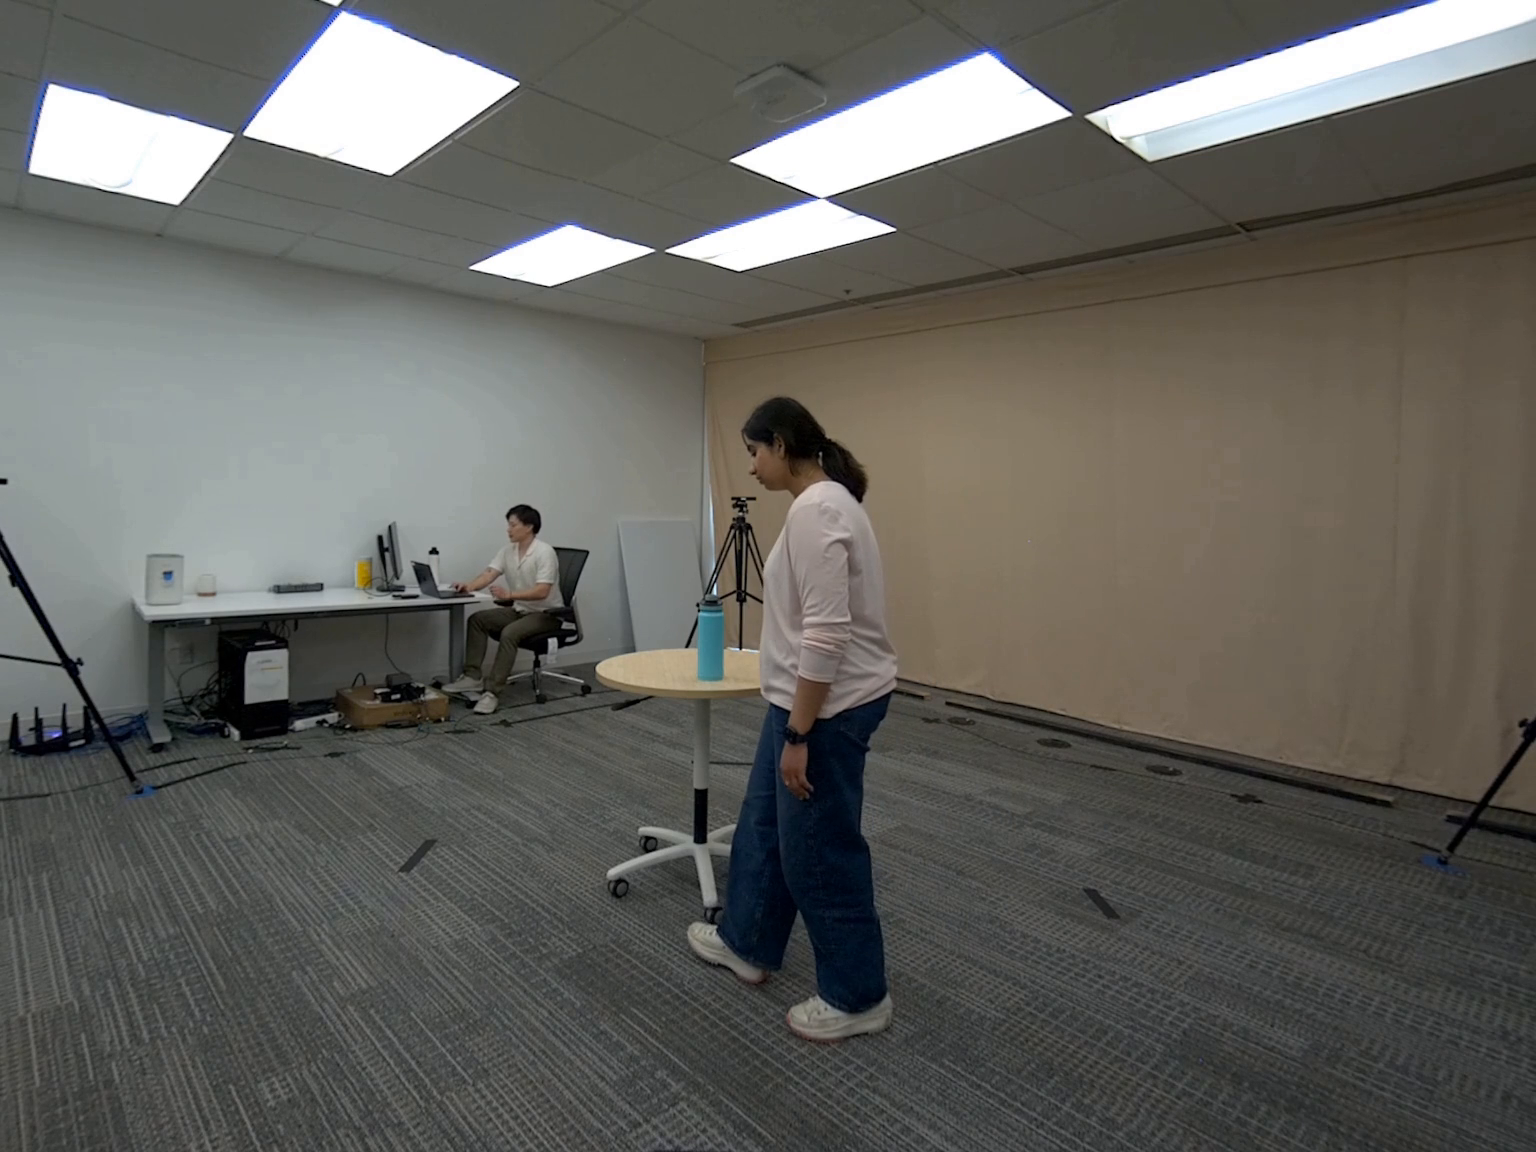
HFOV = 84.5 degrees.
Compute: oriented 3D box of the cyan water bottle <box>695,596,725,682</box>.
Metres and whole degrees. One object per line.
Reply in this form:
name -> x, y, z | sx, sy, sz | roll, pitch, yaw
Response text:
cyan water bottle -> -0.200, 0.208, 2.826 | 0.092, 0.283, 0.092 | 1, 3, -1
